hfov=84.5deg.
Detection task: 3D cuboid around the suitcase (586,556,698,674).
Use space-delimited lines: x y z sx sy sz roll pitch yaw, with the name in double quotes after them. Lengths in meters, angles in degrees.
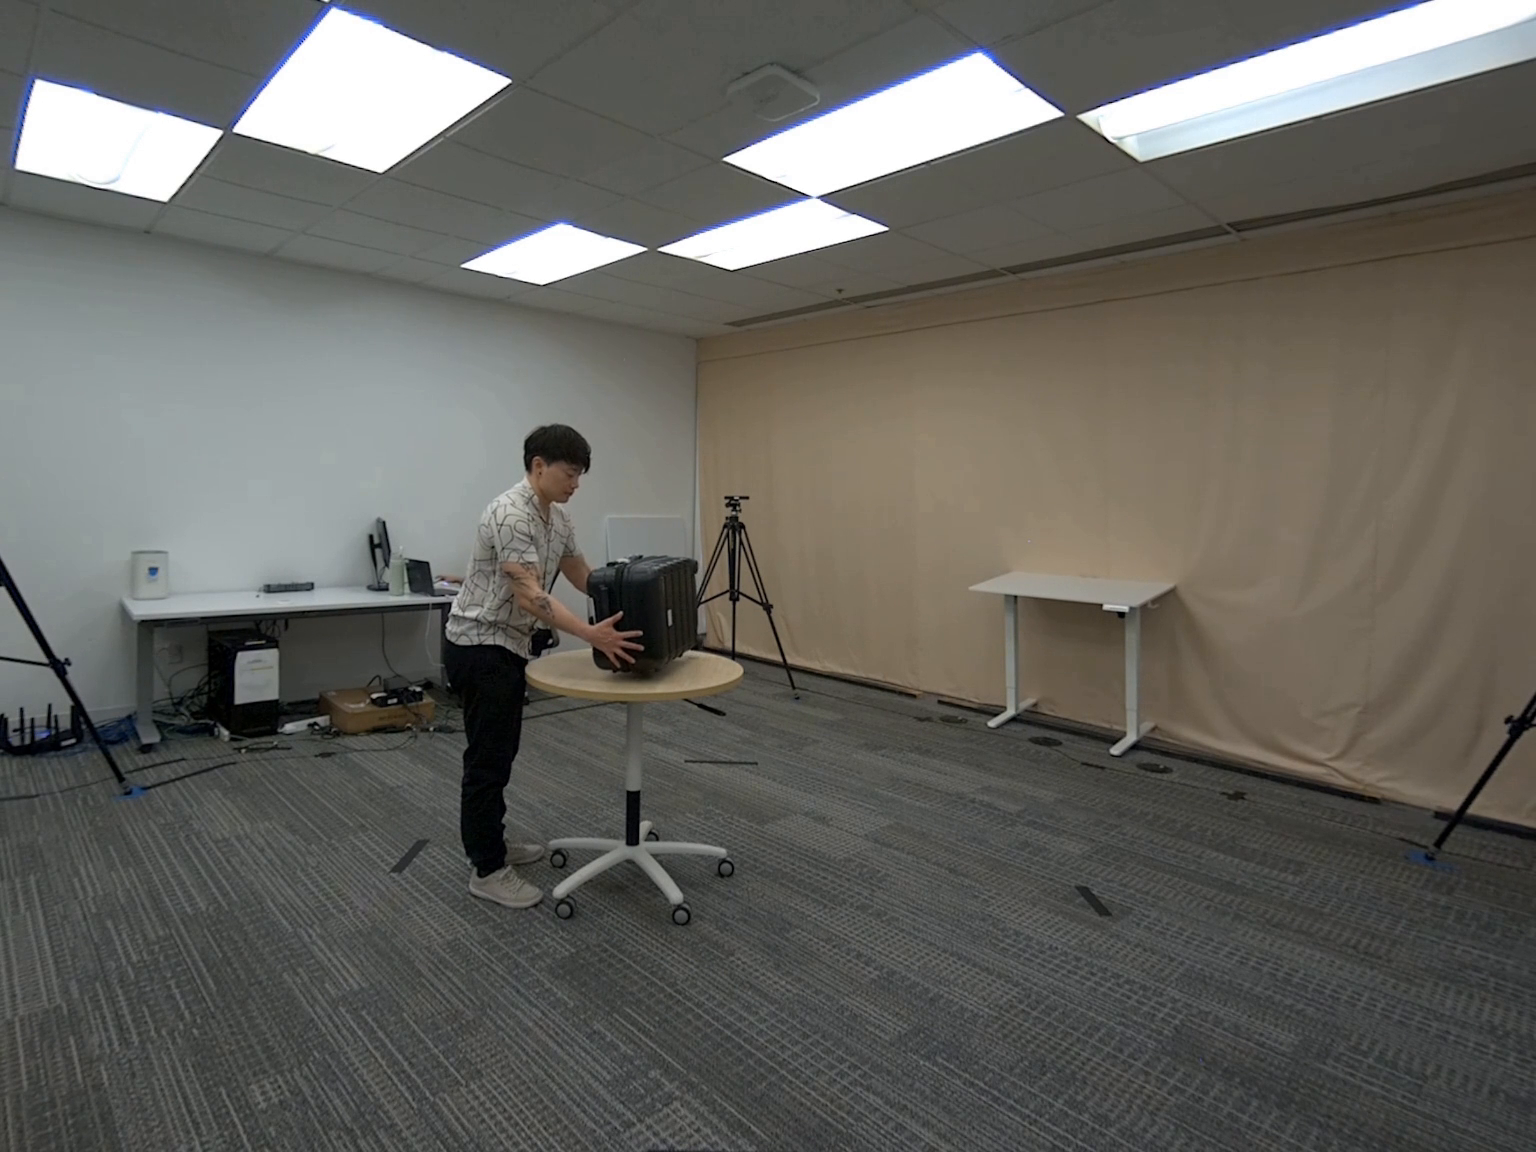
-0.428 0.115 2.953 0.250 0.375 0.546 -2 3 10 "suitcase"
